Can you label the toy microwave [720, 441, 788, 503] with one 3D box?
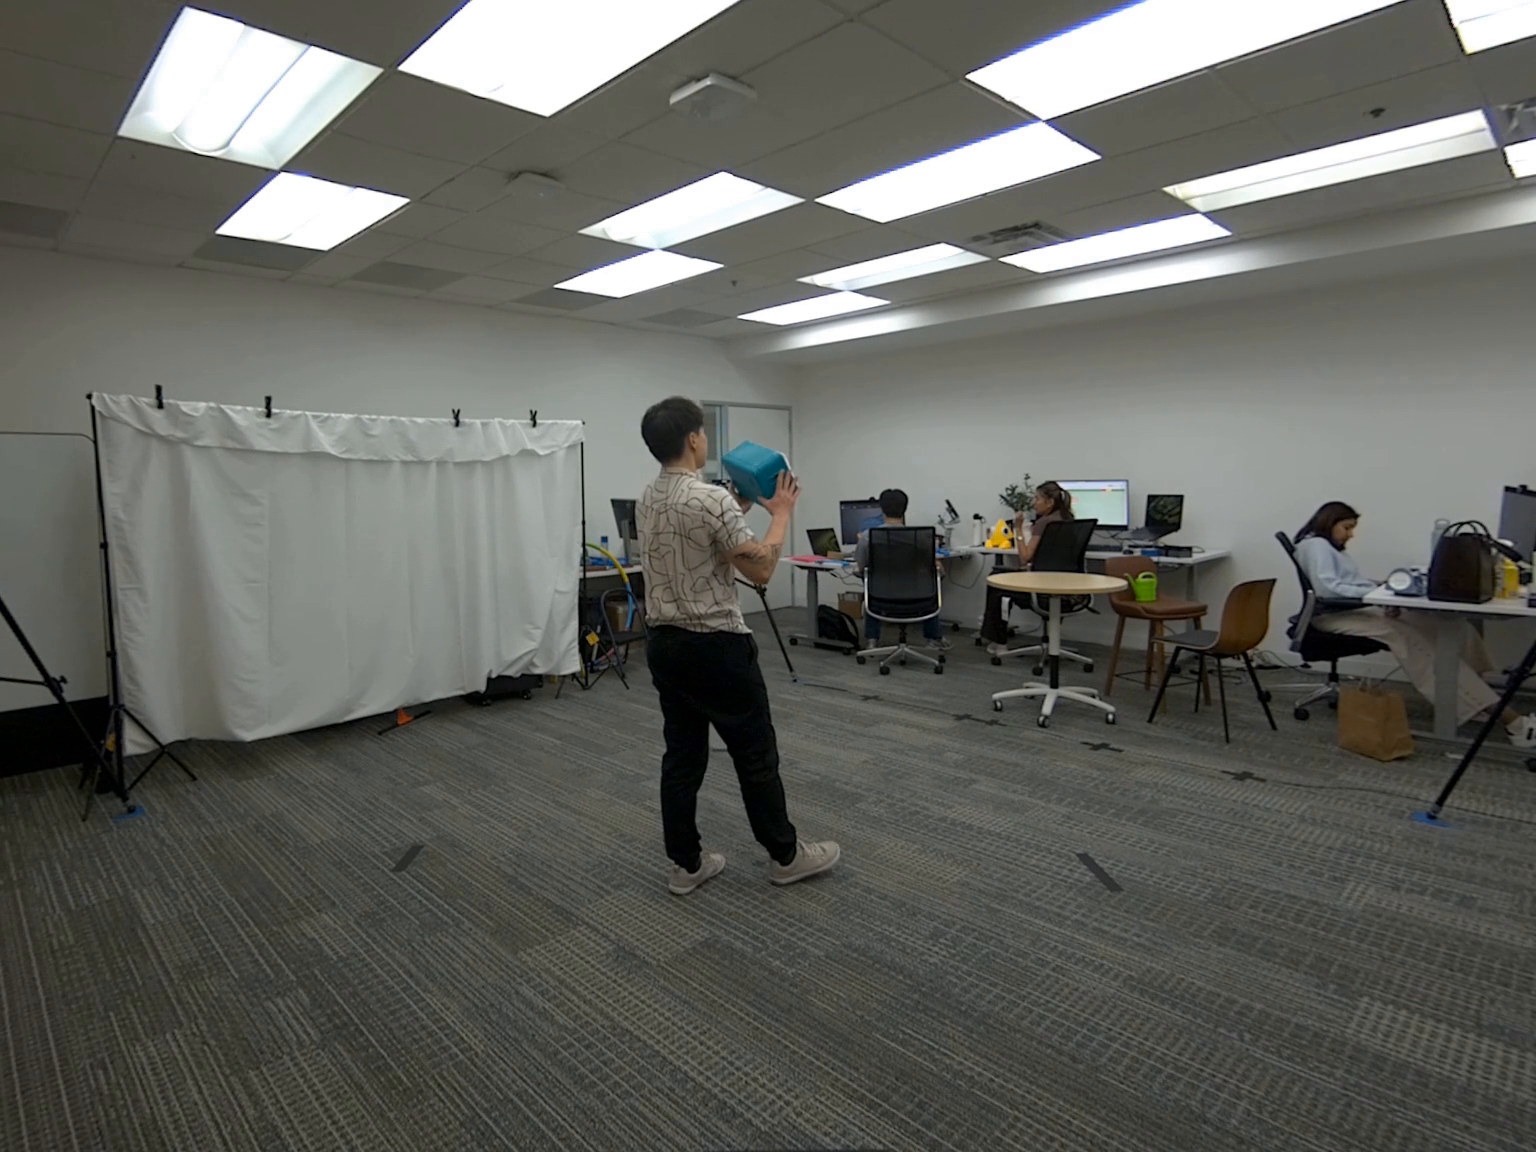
[{"bbox_3d":[-0.023,-0.363,3.055,0.152,0.178,0.296,-35,29,-11],"label":"toy microwave"}]
